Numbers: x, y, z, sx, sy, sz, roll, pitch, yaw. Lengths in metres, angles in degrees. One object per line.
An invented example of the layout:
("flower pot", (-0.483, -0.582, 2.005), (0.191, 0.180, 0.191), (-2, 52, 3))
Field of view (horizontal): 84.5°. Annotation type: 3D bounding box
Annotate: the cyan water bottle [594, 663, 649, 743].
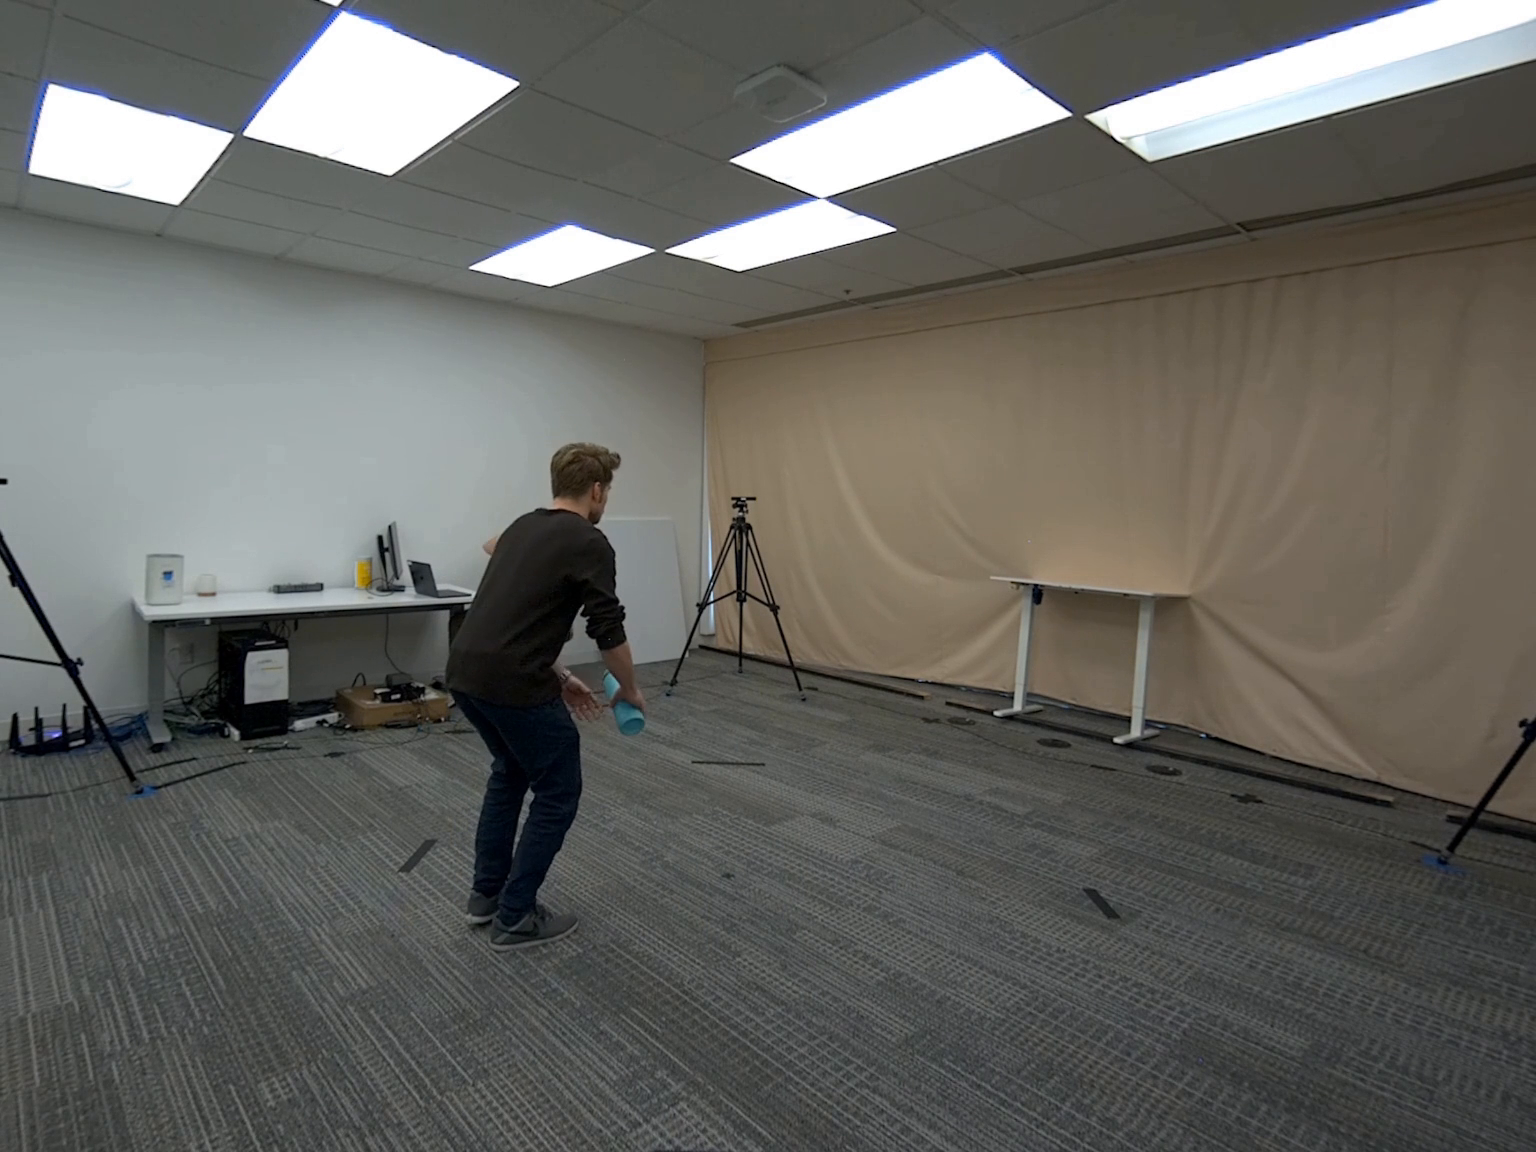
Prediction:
("cyan water bottle", (-0.505, 0.424, 2.889), (0.090, 0.091, 0.292), (-1, 37, -28))
